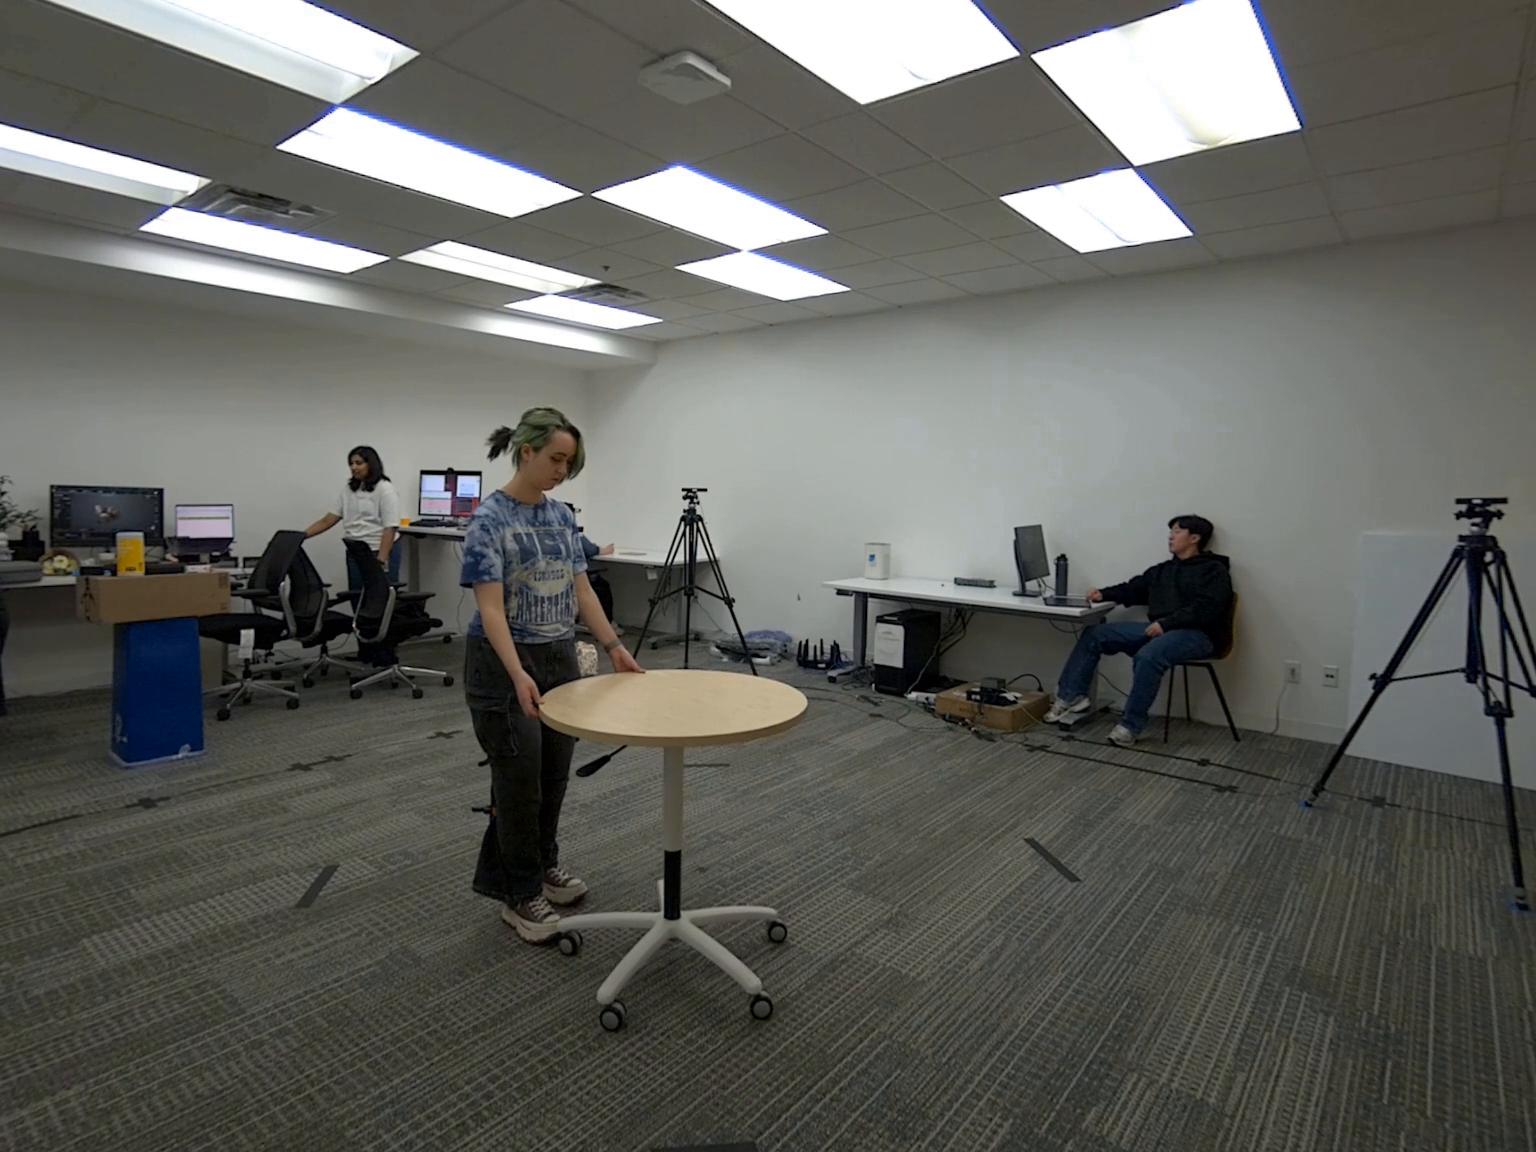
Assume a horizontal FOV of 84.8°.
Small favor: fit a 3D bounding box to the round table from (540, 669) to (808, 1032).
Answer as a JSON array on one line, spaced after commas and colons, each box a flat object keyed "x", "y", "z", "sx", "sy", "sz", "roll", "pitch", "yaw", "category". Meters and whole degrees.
[{"x": -0.273, "y": 0.741, "z": 2.471, "sx": 0.763, "sy": 0.791, "sz": 0.768, "roll": 0, "pitch": 4, "yaw": -2, "category": "round table"}]
